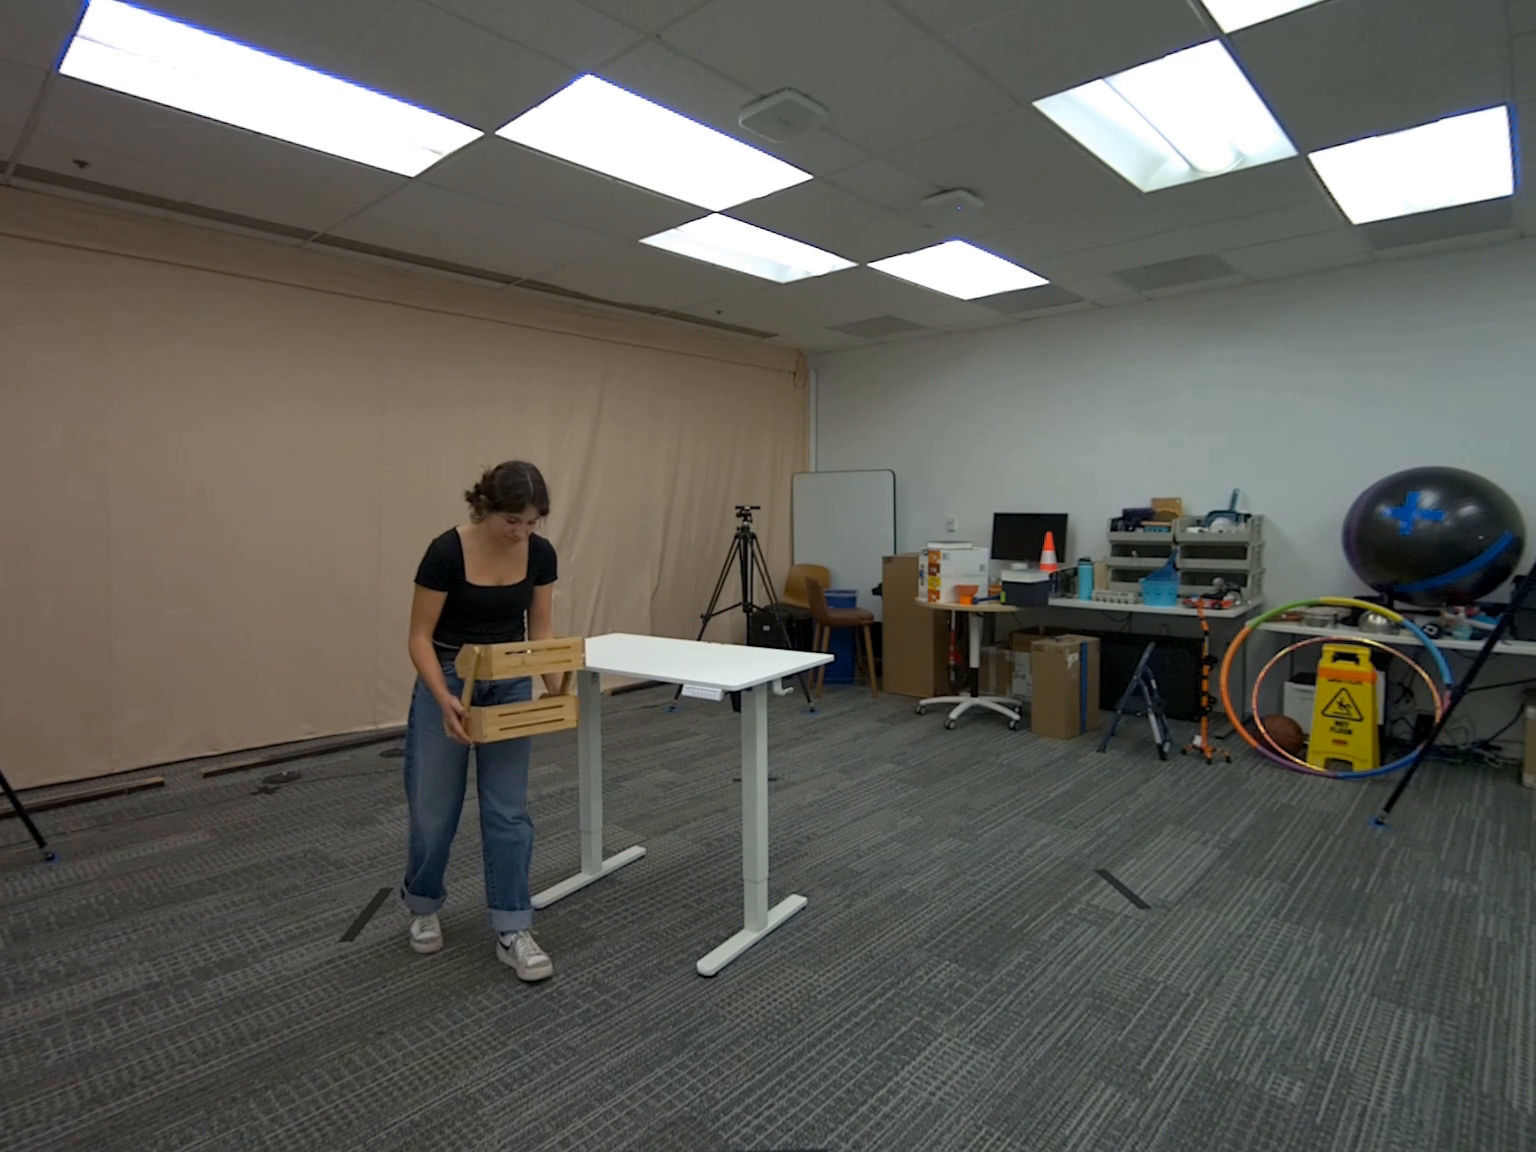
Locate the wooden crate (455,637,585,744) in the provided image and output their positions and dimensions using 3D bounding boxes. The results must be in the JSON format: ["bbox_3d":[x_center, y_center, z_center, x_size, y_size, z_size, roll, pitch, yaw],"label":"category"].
[{"bbox_3d":[-0.739,0.310,2.417,0.314,0.274,0.311,-2,-2,-44],"label":"wooden crate"}]
